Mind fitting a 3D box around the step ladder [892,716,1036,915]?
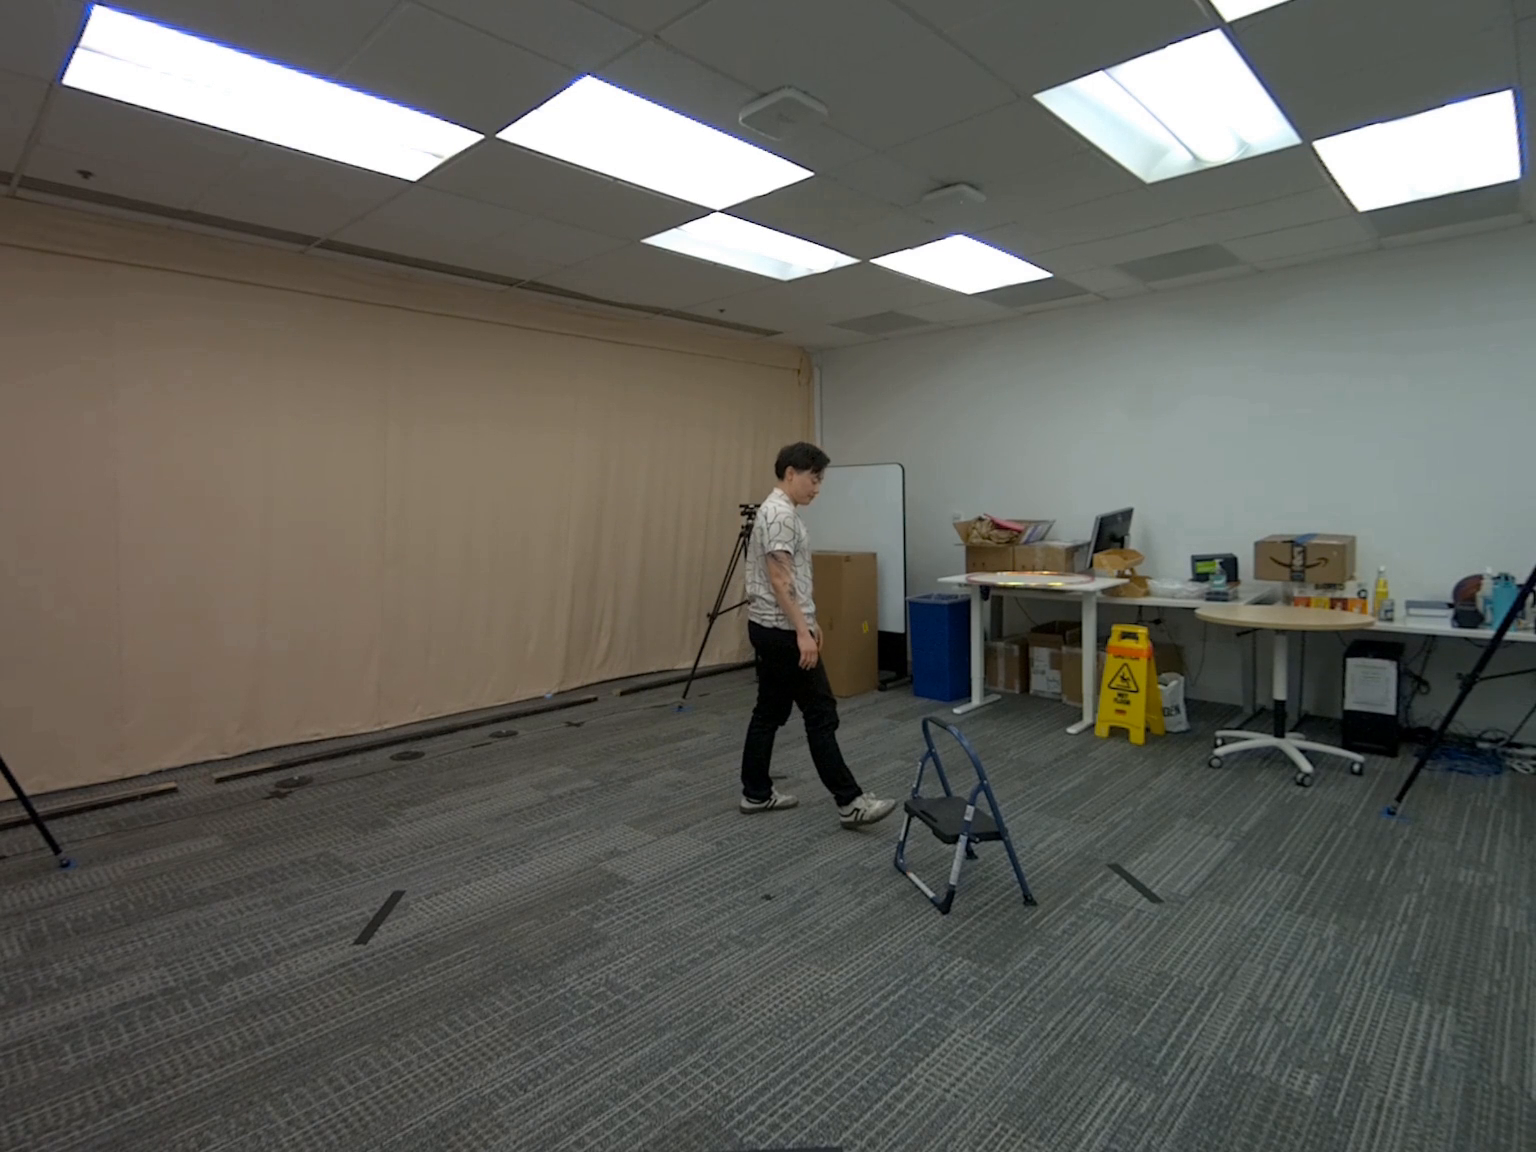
[{"bbox_3d":[0.704,0.820,3.051,0.344,0.605,0.438,-2,3,-15],"label":"step ladder"}]
